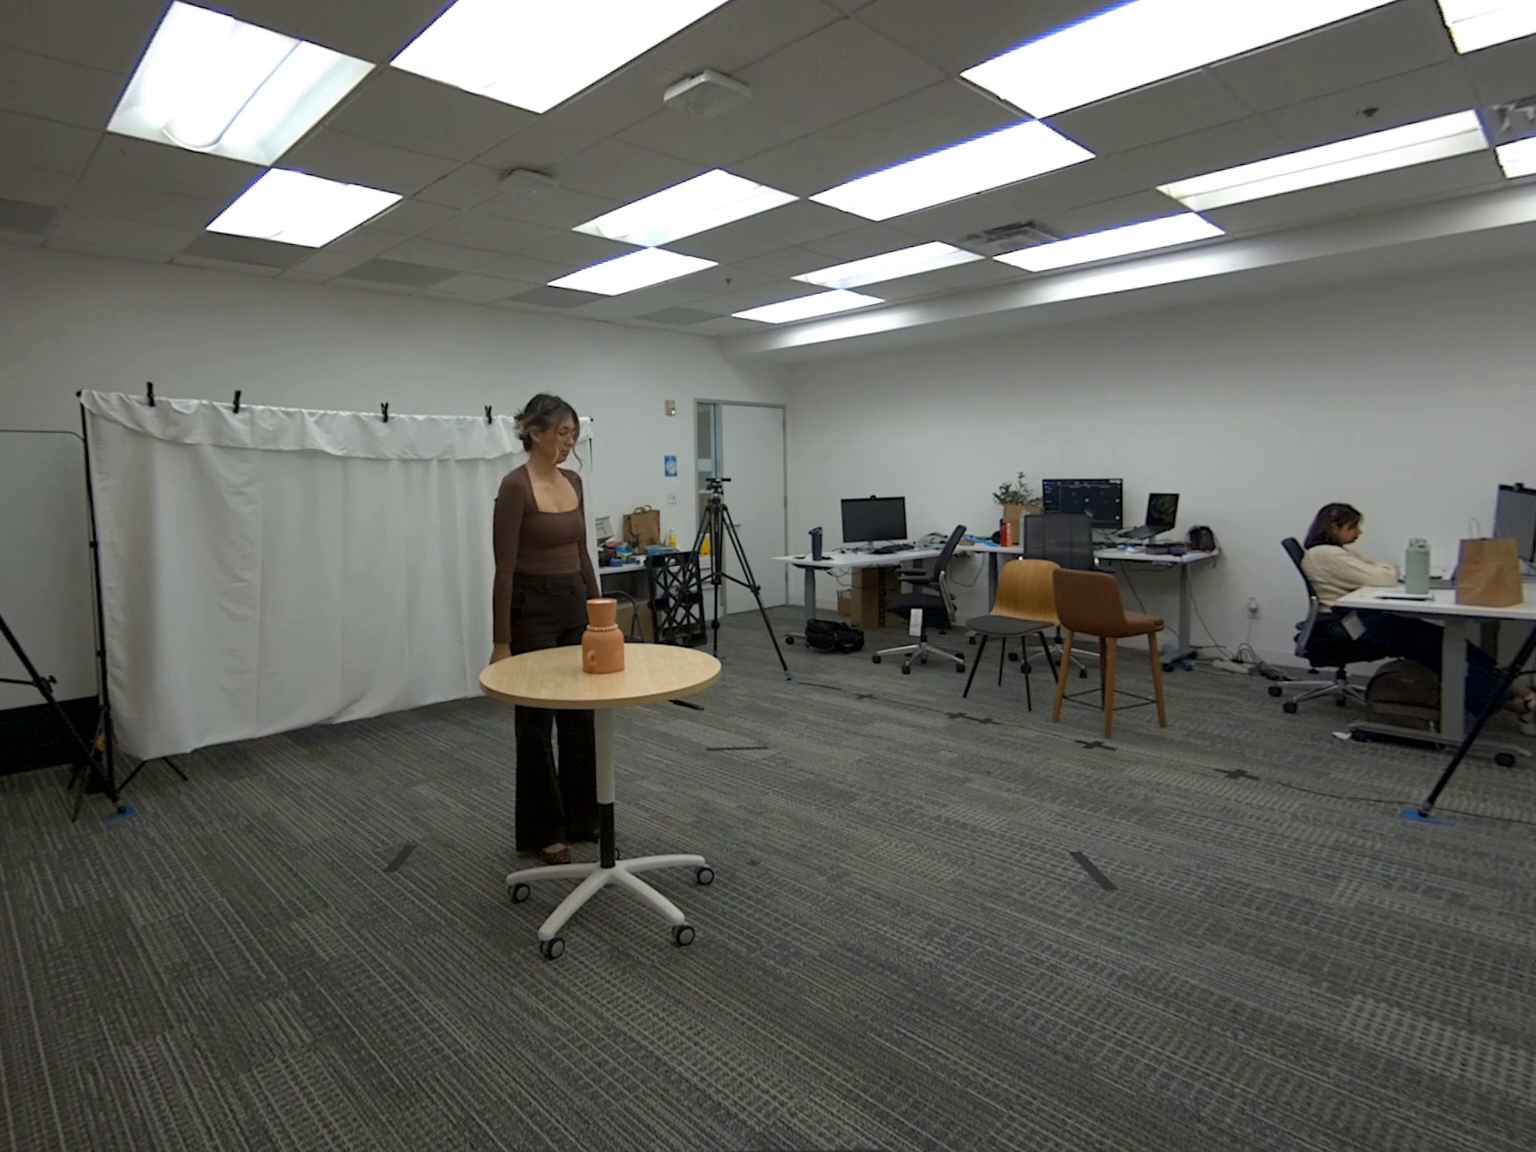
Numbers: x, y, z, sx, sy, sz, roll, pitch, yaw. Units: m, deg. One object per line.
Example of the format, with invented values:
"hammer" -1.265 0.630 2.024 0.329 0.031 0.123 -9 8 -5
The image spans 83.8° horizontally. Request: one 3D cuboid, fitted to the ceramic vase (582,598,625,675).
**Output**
"ceramic vase" -0.521 0.188 2.722 0.132 0.219 0.162 -3 5 -19
